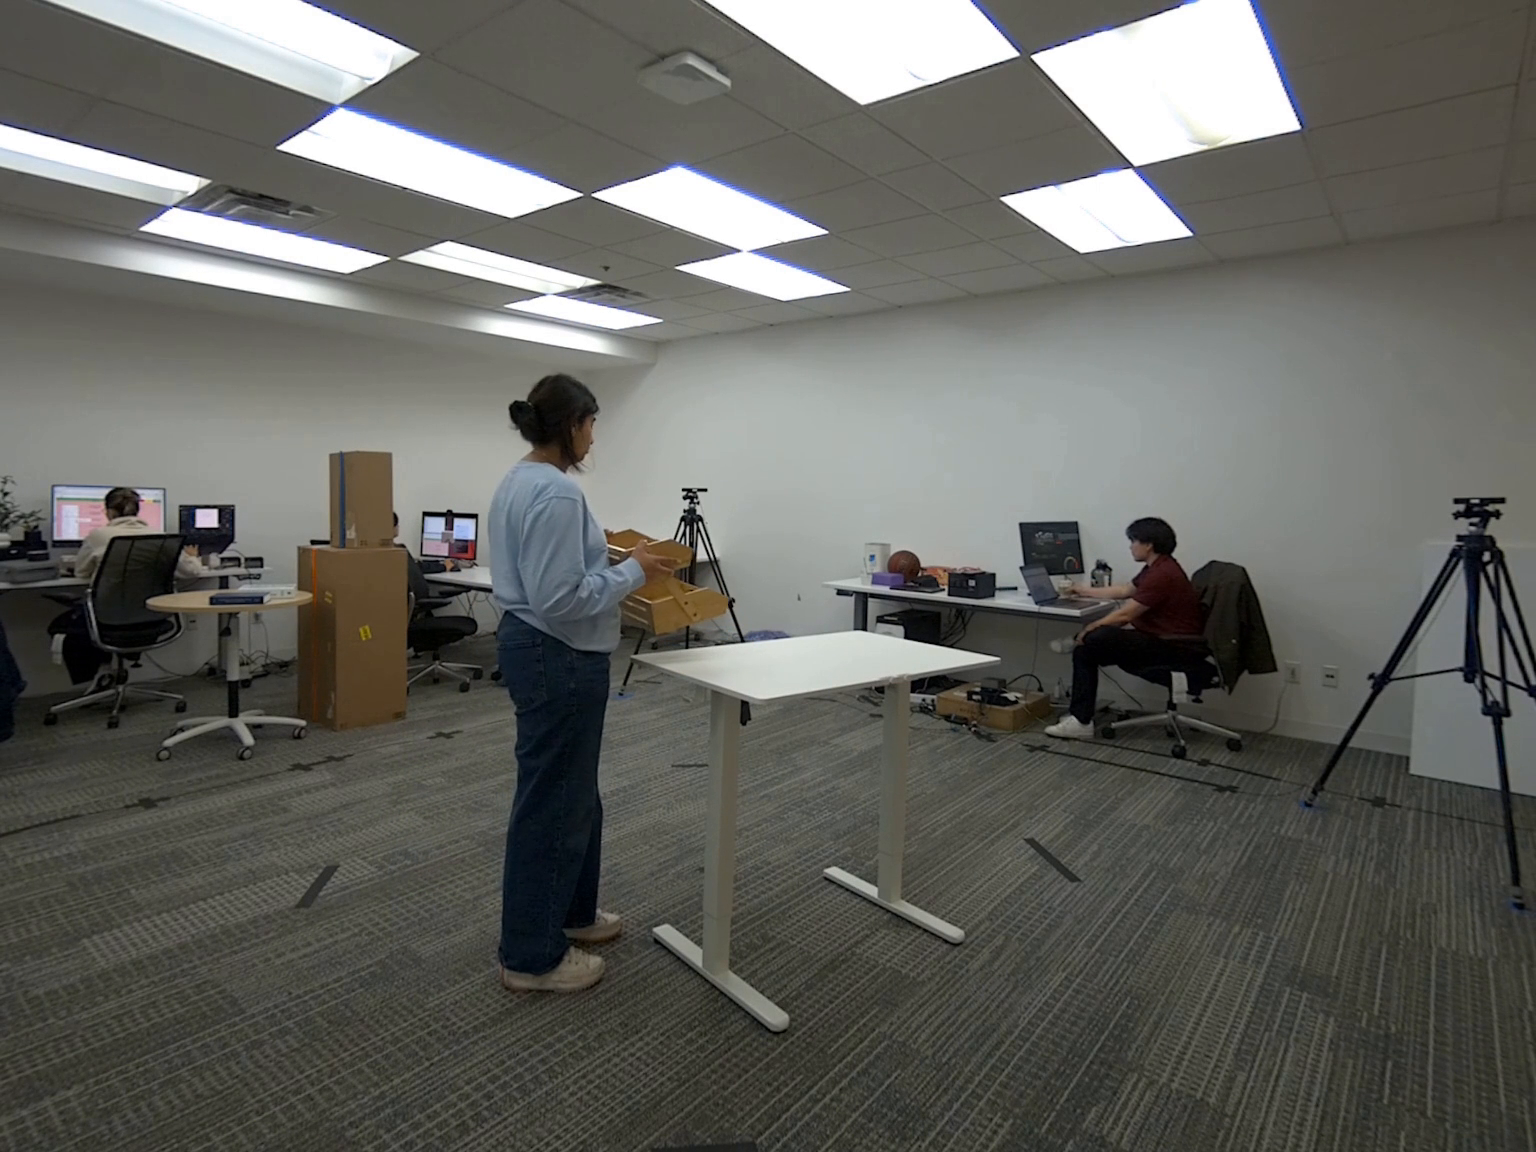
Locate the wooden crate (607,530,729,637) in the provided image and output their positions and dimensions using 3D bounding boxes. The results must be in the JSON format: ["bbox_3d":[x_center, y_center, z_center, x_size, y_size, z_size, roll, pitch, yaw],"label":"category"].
[{"bbox_3d":[-0.352,-0.004,2.544,0.296,0.269,0.335,-16,15,-27],"label":"wooden crate"}]
